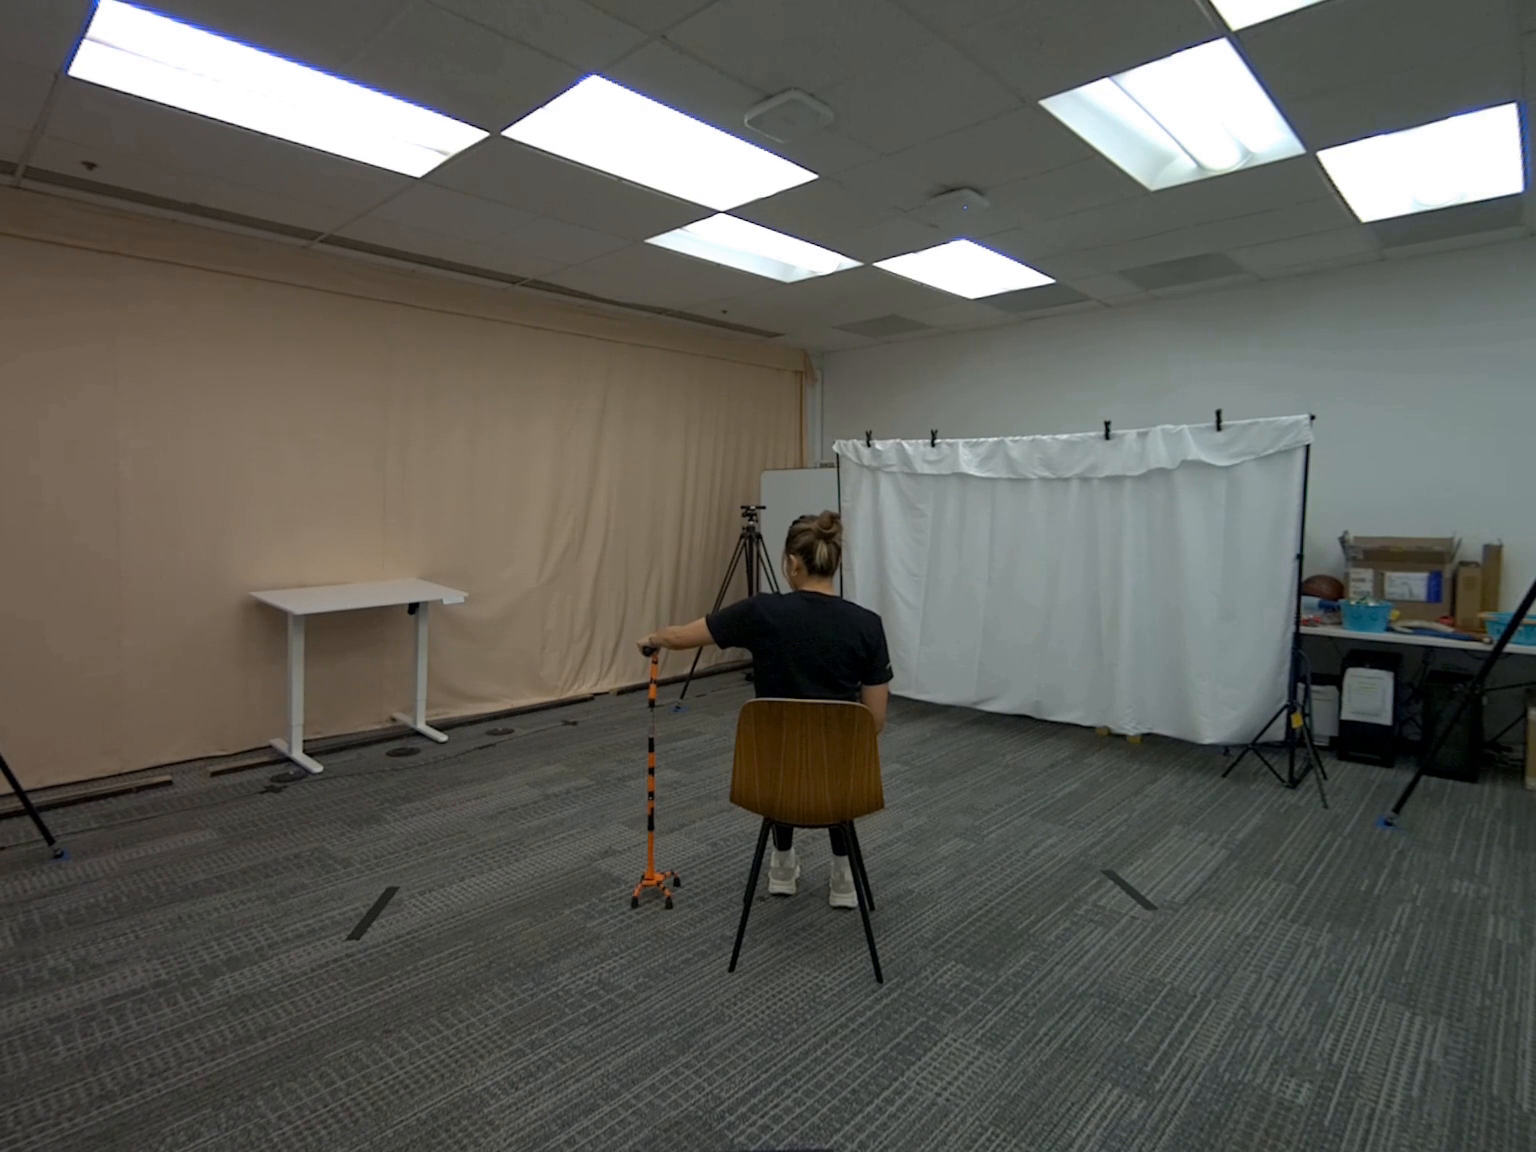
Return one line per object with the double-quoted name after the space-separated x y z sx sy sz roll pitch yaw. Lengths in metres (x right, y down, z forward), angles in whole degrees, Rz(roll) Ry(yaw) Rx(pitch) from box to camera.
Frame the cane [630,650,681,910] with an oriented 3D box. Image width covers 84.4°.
-0.398 0.692 2.998 0.152 0.906 0.206 1 2 3 "cane"
